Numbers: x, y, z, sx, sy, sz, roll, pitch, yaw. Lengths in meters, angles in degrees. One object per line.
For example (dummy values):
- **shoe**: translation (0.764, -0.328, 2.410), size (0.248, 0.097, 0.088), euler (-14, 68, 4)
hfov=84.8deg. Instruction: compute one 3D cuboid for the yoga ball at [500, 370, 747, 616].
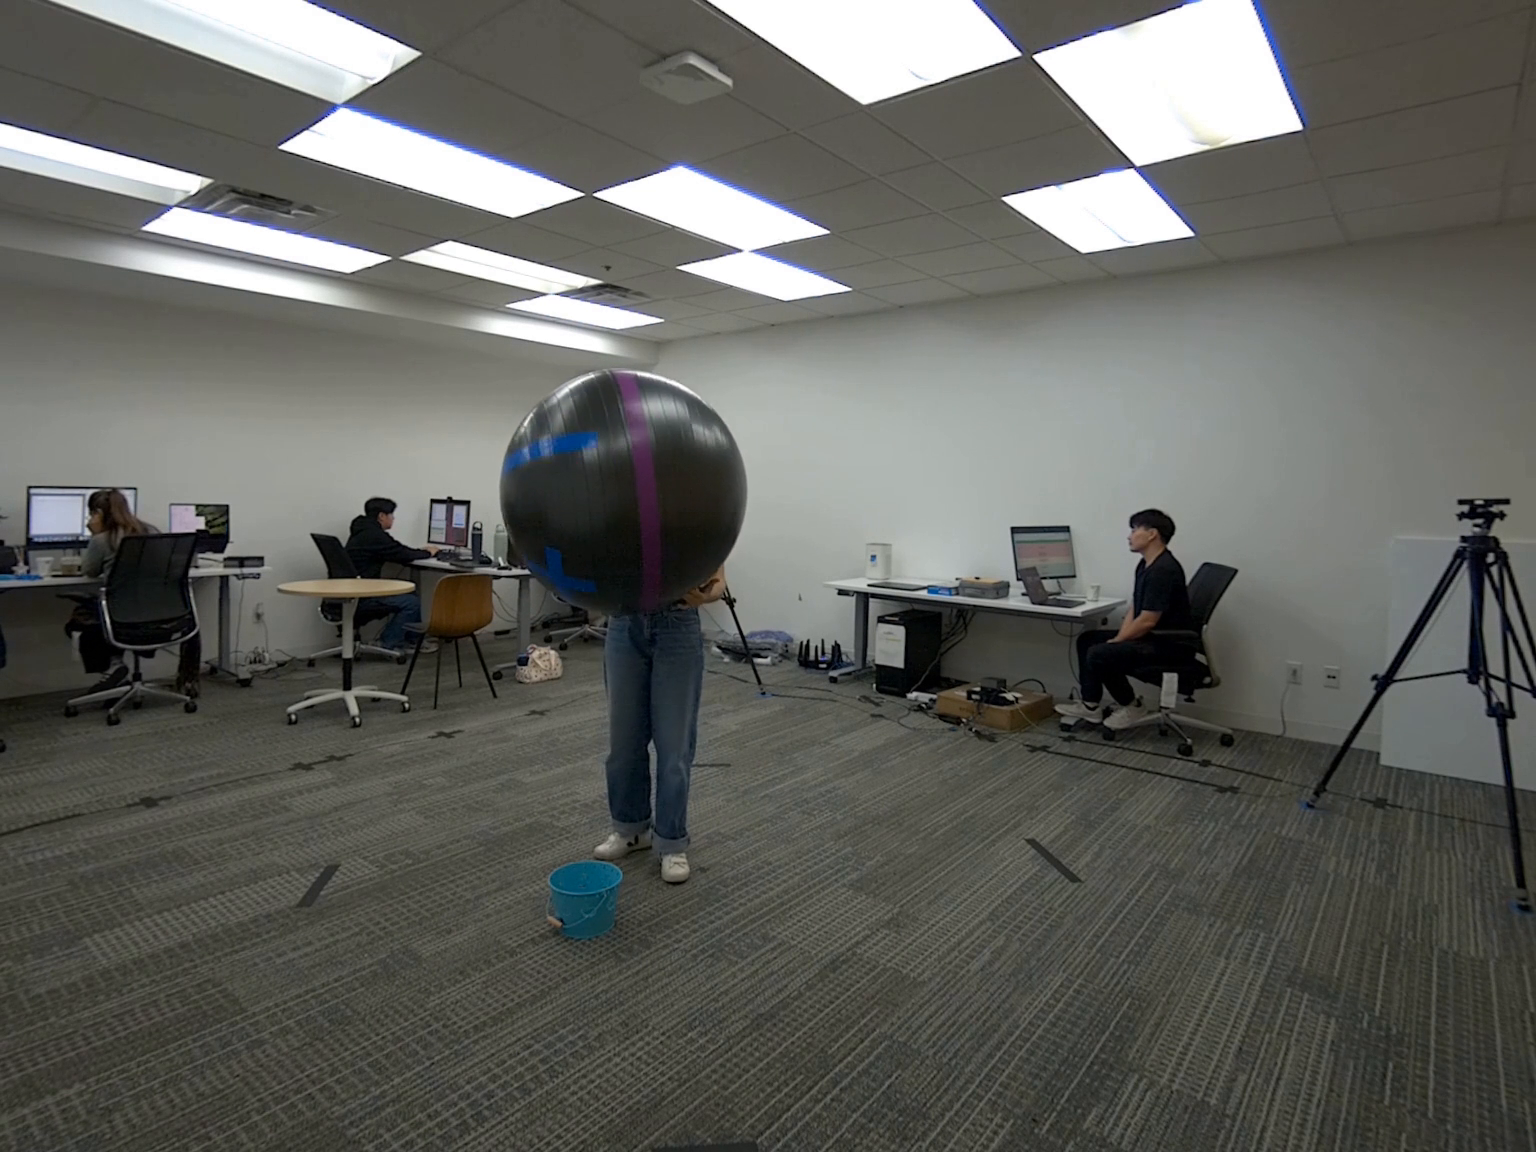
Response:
- **yoga ball**: translation (-0.456, -0.255, 2.648), size (0.757, 0.755, 0.762), euler (1, 4, -2)
